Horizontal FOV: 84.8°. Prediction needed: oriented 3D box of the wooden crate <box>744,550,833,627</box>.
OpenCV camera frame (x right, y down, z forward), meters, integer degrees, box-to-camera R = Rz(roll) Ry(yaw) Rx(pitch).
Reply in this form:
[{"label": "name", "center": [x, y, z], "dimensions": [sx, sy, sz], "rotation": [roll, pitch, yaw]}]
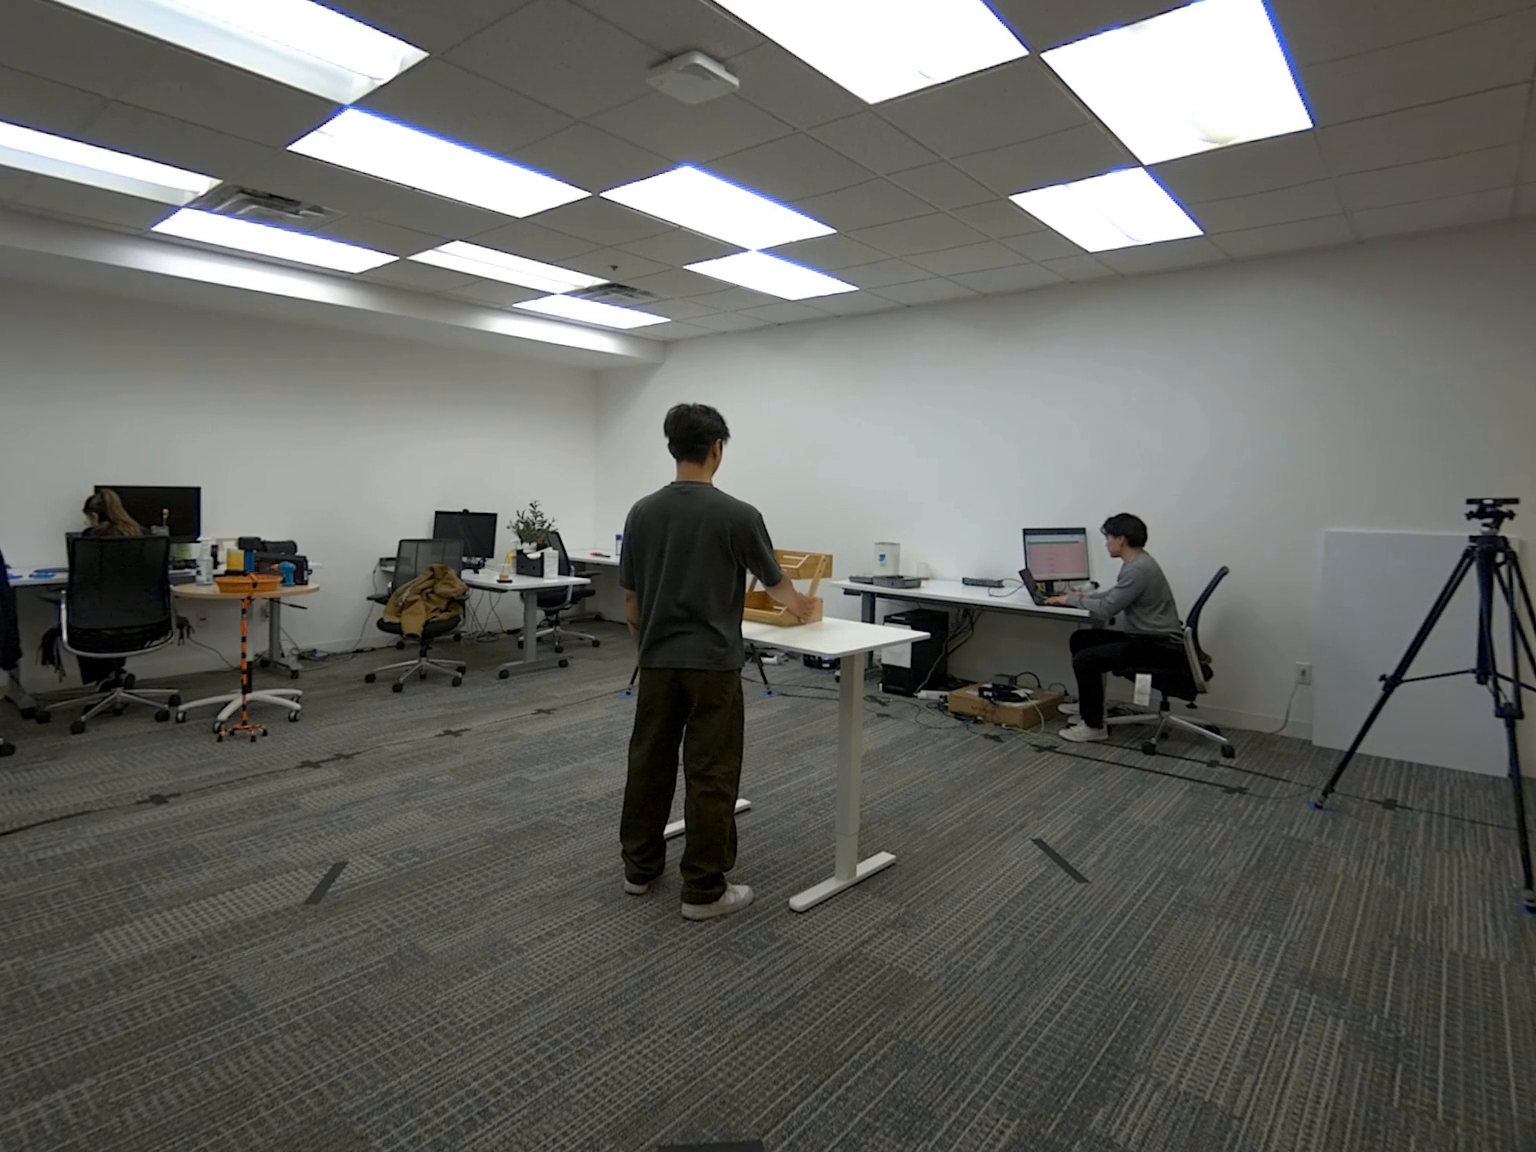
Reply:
[{"label": "wooden crate", "center": [0.030, 0.032, 3.342], "dimensions": [0.336, 0.272, 0.293], "rotation": [6, 6, 43]}]
